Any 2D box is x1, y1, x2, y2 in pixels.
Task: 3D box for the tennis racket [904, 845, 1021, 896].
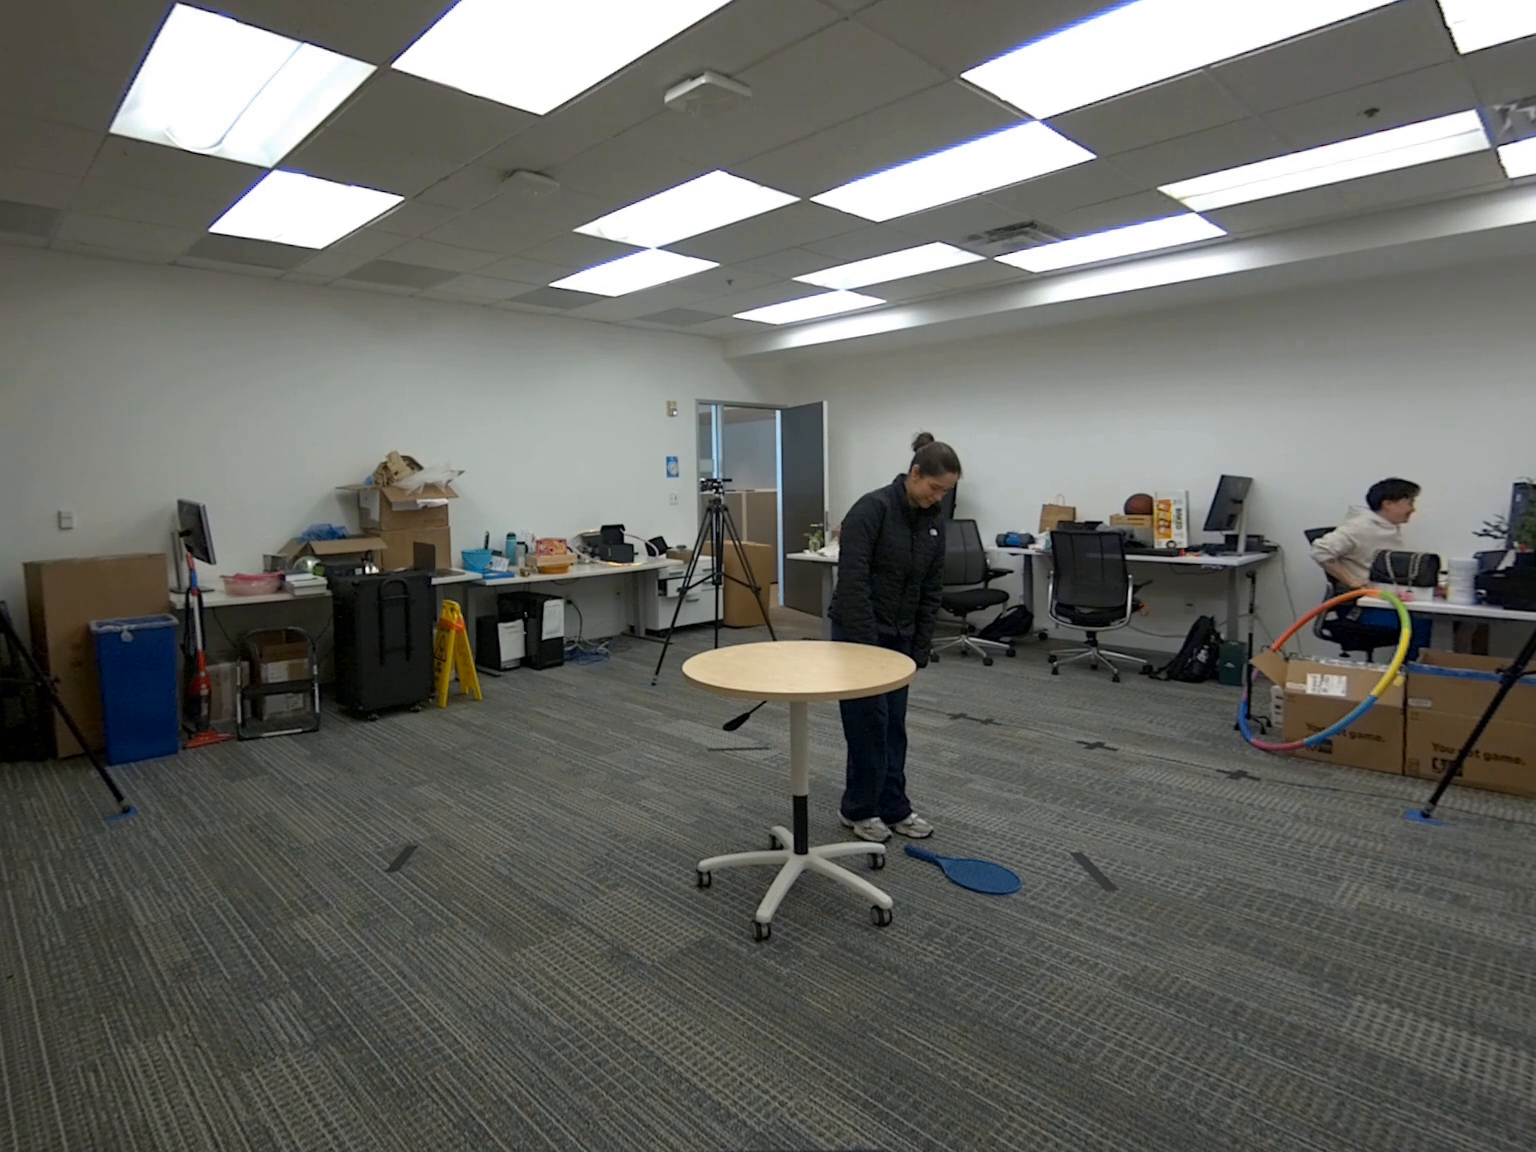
[{"bbox_3d":[0.674,1.026,3.032,0.447,0.031,0.208,7,10,43],"label":"tennis racket"}]
